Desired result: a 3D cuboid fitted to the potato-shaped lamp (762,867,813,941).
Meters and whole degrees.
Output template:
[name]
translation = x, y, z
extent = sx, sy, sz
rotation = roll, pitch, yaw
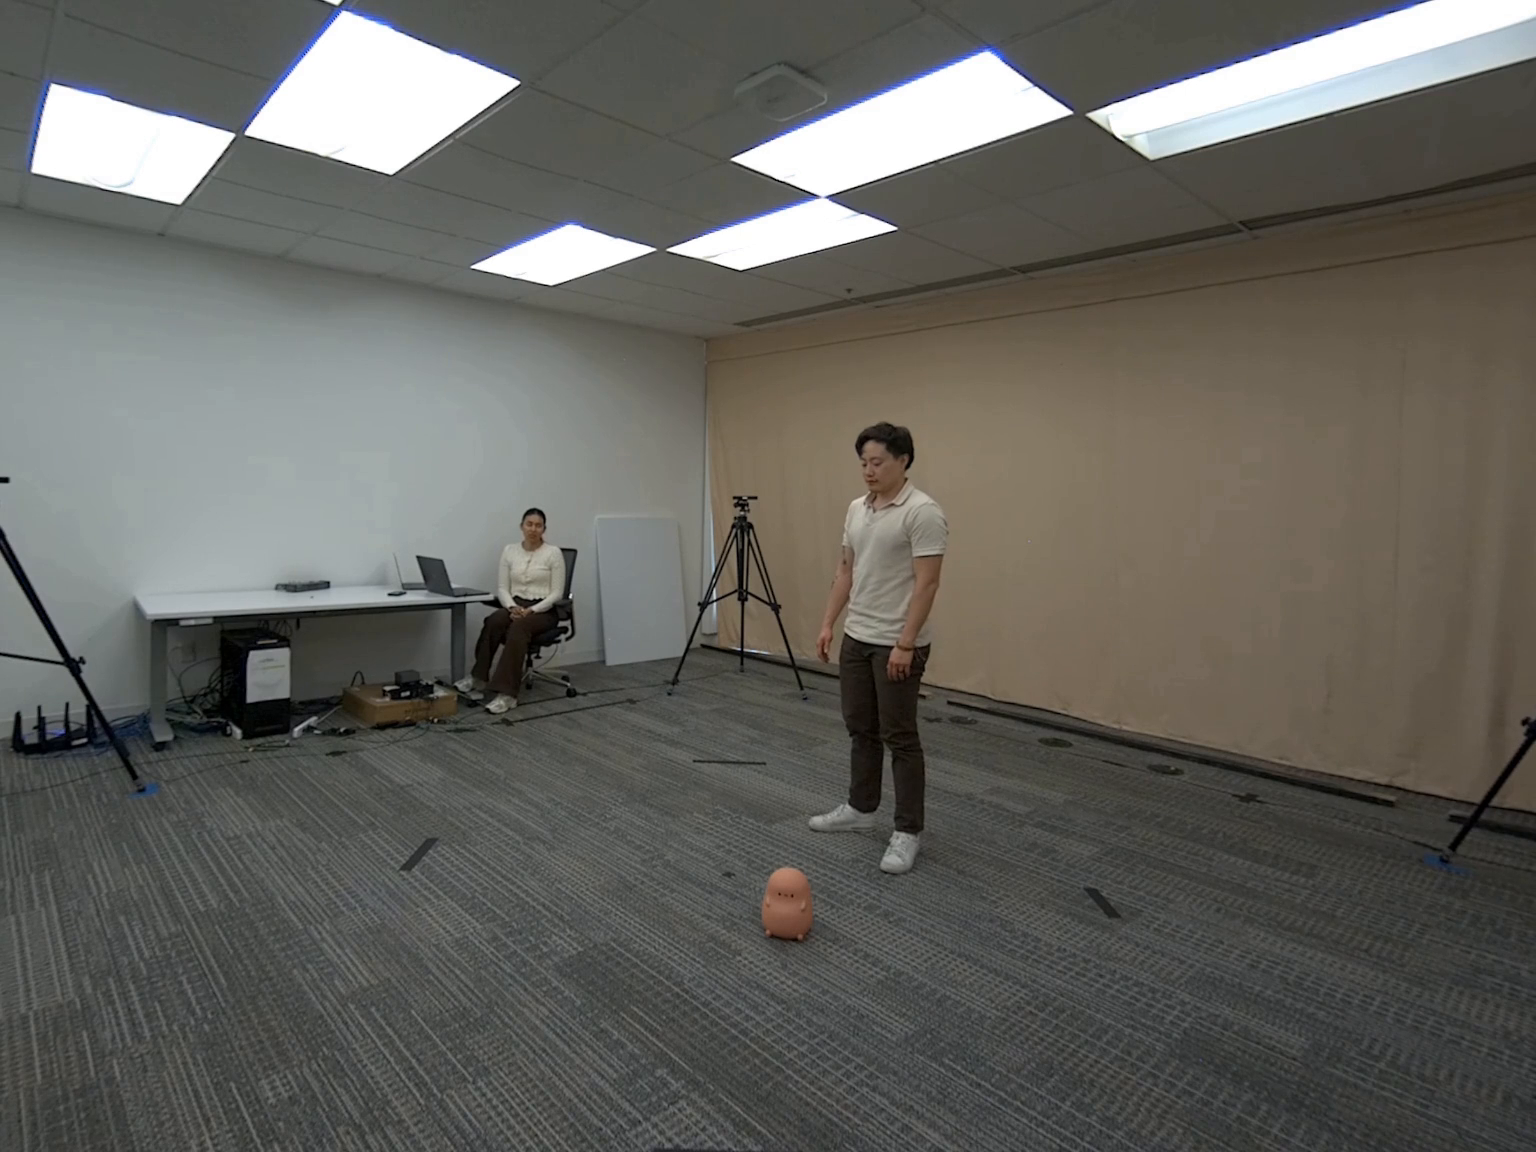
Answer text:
[potato-shaped lamp]
translation = 0.058, 1.046, 2.708
extent = 0.166, 0.198, 0.170
rotation = 4, 3, 12
